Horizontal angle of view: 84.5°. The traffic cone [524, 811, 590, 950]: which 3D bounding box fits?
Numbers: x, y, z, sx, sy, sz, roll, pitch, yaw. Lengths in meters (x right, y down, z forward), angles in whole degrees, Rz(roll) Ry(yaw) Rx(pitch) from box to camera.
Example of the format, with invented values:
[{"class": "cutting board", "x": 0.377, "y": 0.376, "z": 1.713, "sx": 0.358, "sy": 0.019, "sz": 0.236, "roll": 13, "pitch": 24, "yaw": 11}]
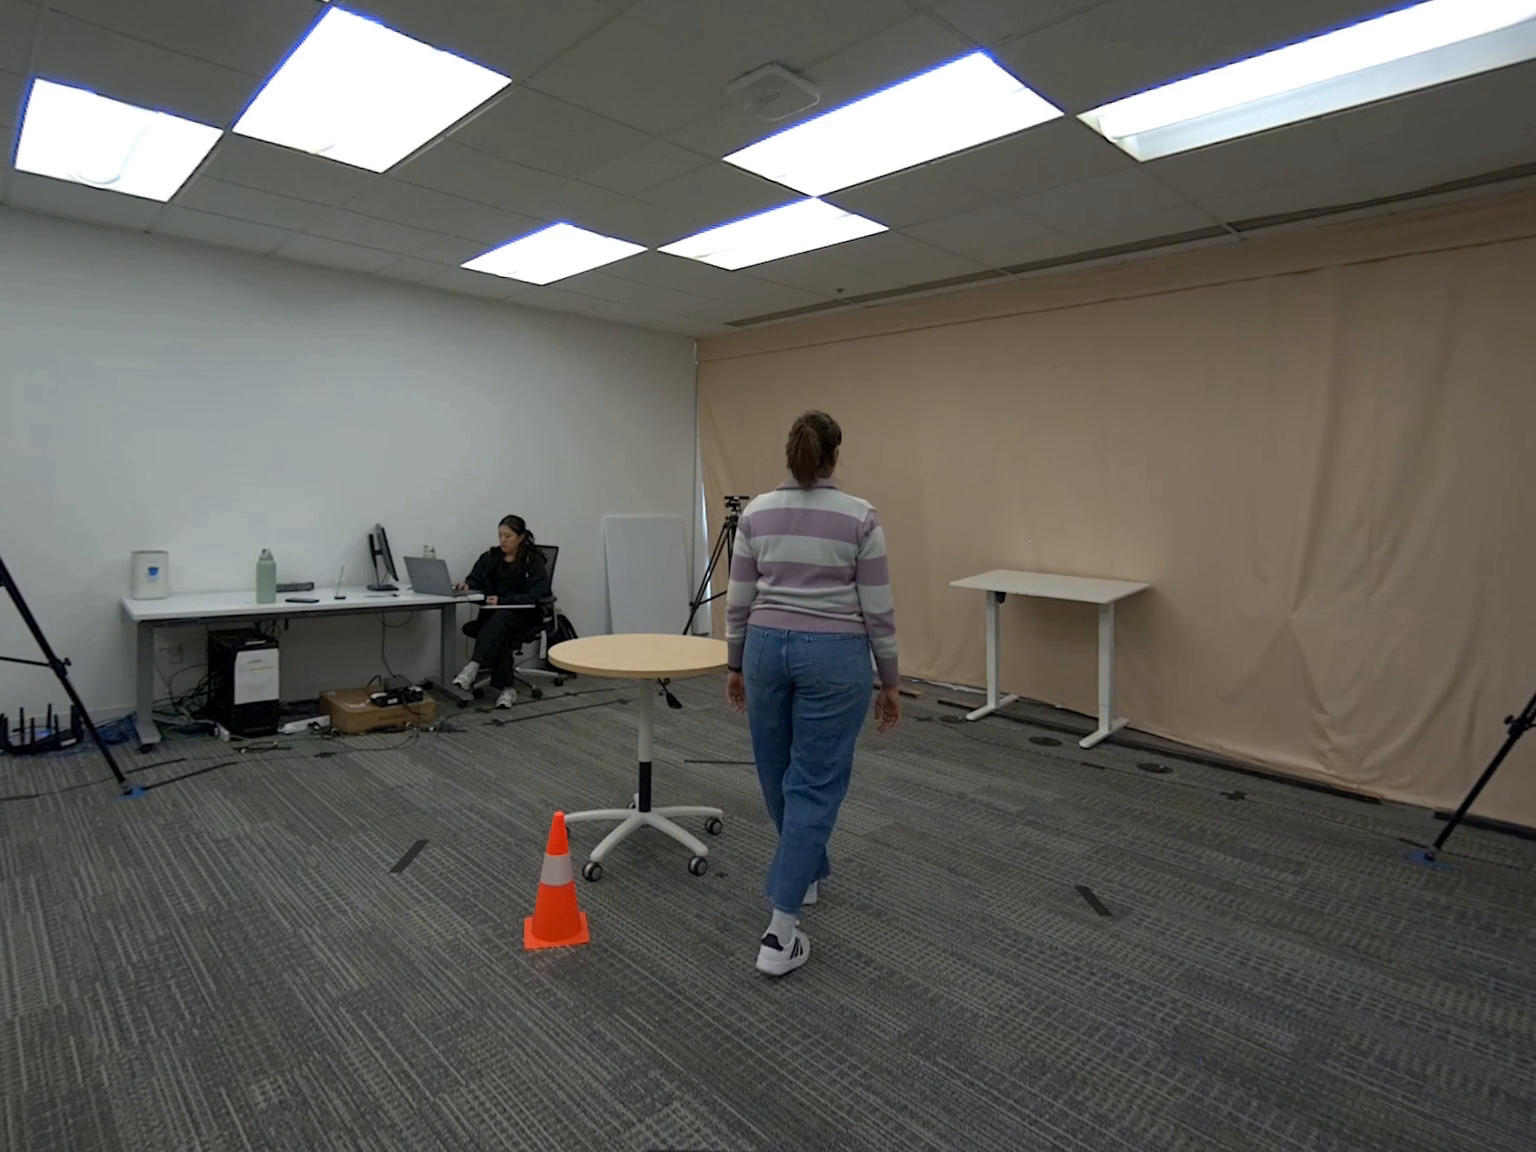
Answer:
[{"class": "traffic cone", "x": -0.674, "y": 0.955, "z": 2.677, "sx": 0.203, "sy": 0.383, "sz": 0.206, "roll": 0, "pitch": 3, "yaw": -15}]
